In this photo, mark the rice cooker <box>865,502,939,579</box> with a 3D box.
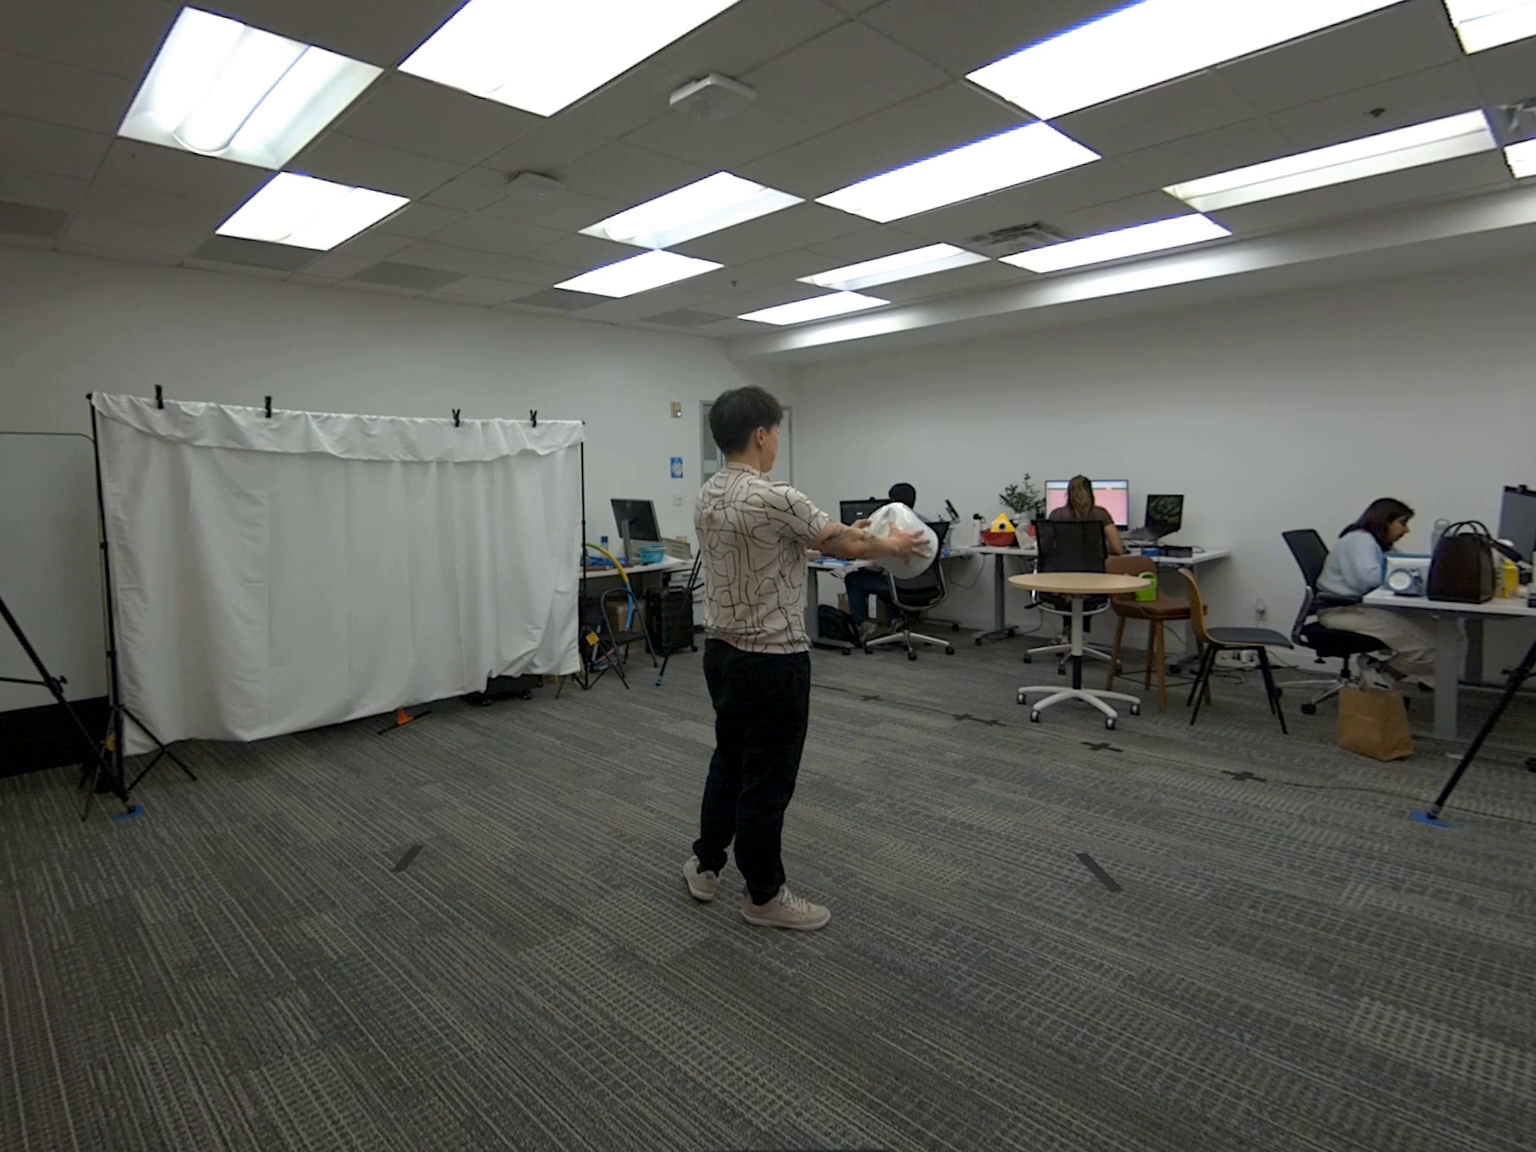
[{"bbox_3d":[0.437,-0.126,2.928,0.226,0.221,0.223,34,-12,-27],"label":"rice cooker"}]
